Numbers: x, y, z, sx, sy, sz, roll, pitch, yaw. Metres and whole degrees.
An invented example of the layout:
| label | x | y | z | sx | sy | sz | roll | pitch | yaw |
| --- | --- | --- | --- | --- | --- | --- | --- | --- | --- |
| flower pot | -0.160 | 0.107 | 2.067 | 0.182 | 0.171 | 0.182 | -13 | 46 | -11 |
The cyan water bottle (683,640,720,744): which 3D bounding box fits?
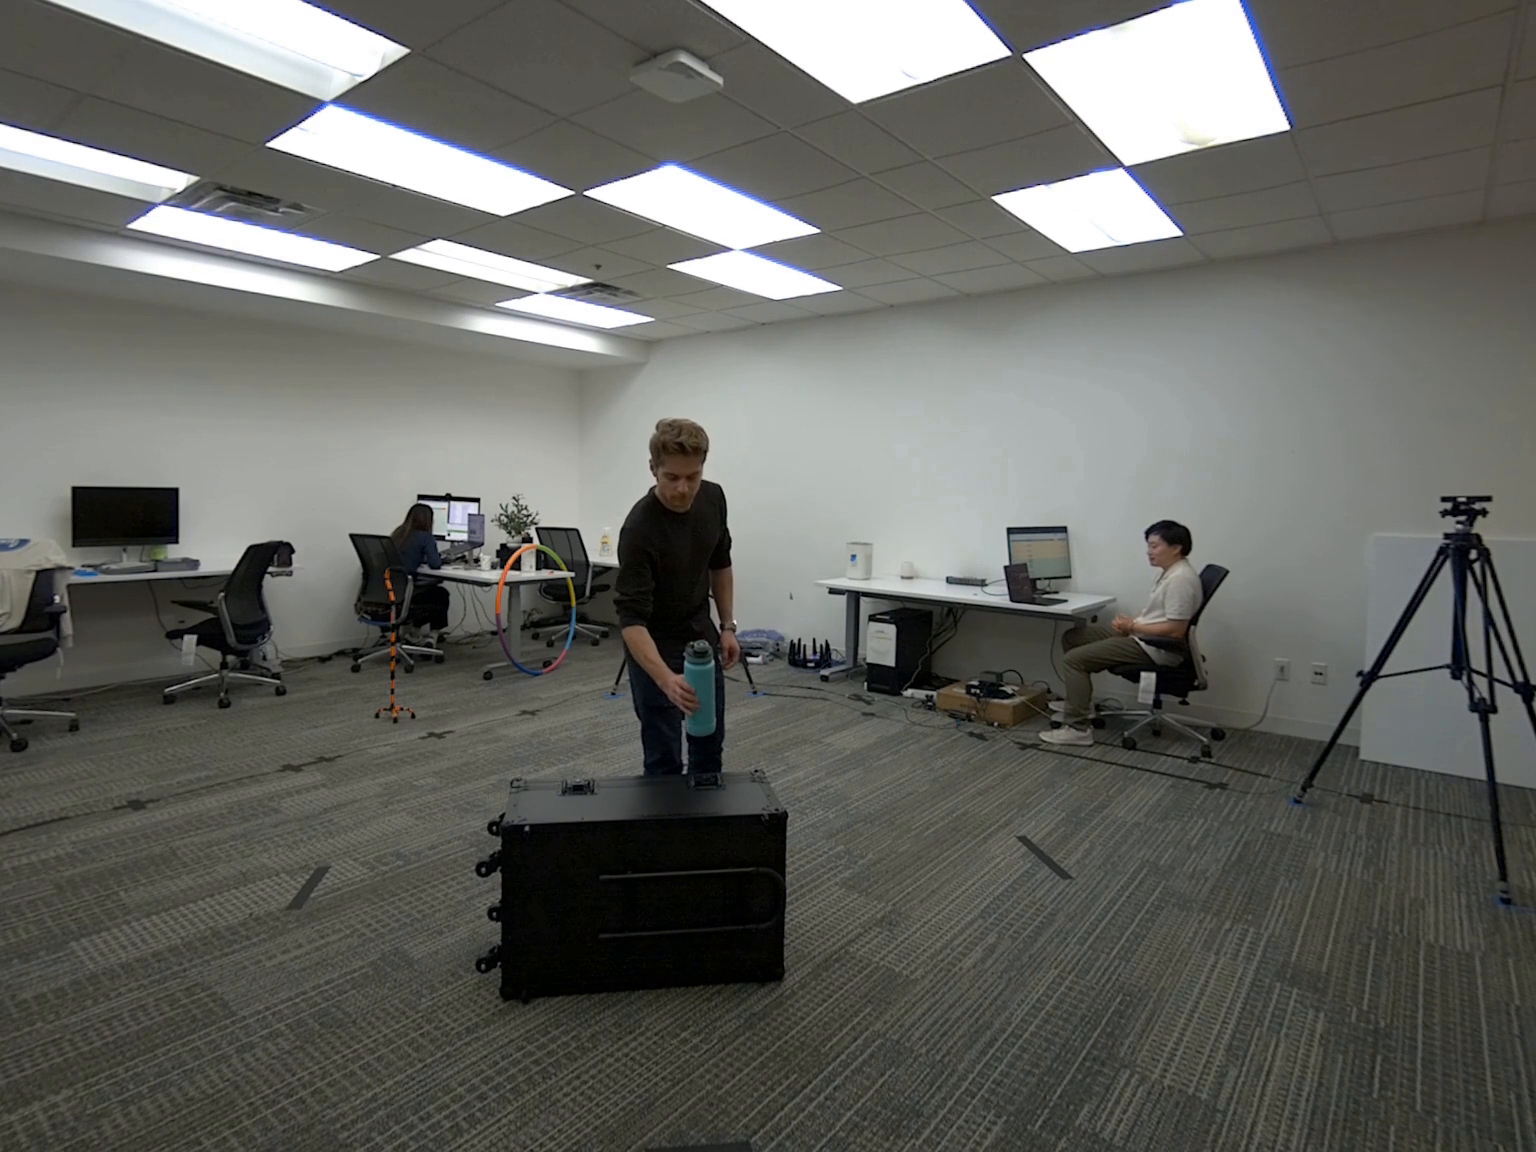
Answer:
| label | x | y | z | sx | sy | sz | roll | pitch | yaw |
| --- | --- | --- | --- | --- | --- | --- | --- | --- | --- |
| cyan water bottle | -0.214 | 0.317 | 2.467 | 0.092 | 0.279 | 0.094 | 0 | 17 | -2 |
